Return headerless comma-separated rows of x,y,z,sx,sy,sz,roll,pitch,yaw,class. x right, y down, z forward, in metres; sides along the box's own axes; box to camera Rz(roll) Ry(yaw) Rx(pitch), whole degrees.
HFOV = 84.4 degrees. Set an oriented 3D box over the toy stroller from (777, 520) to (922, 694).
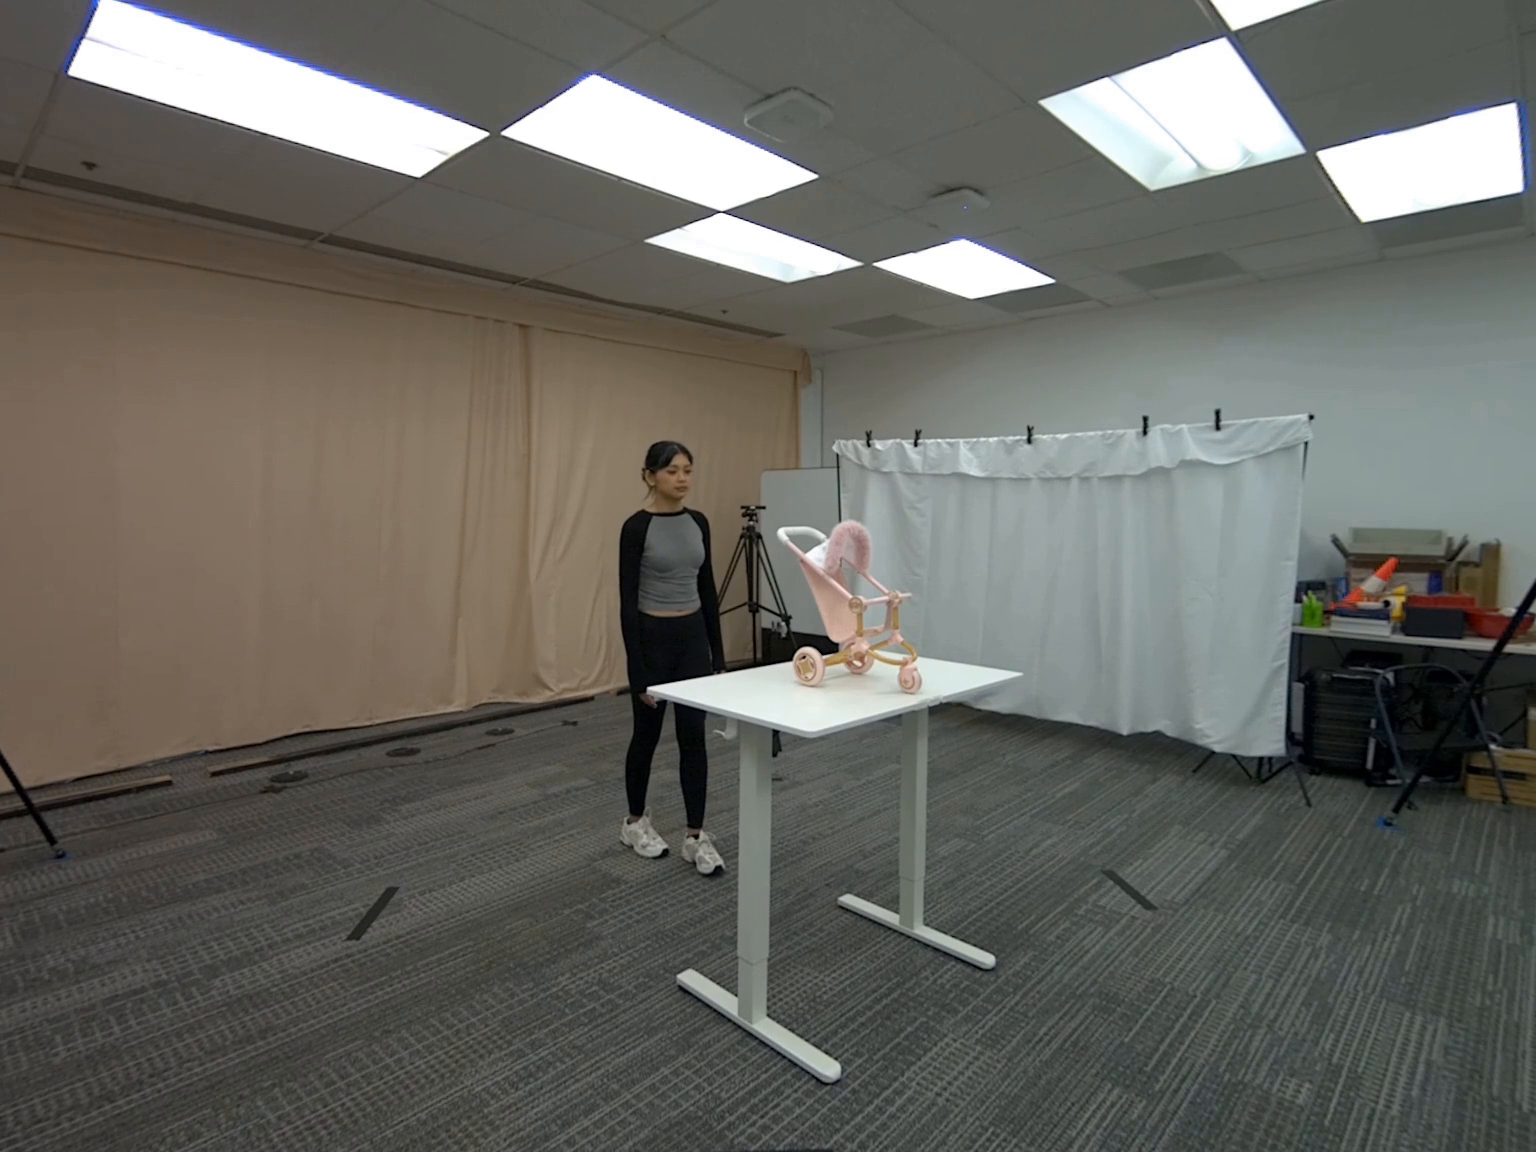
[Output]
0.246,0.085,2.403,0.273,0.538,0.350,-3,-9,-44,toy stroller
